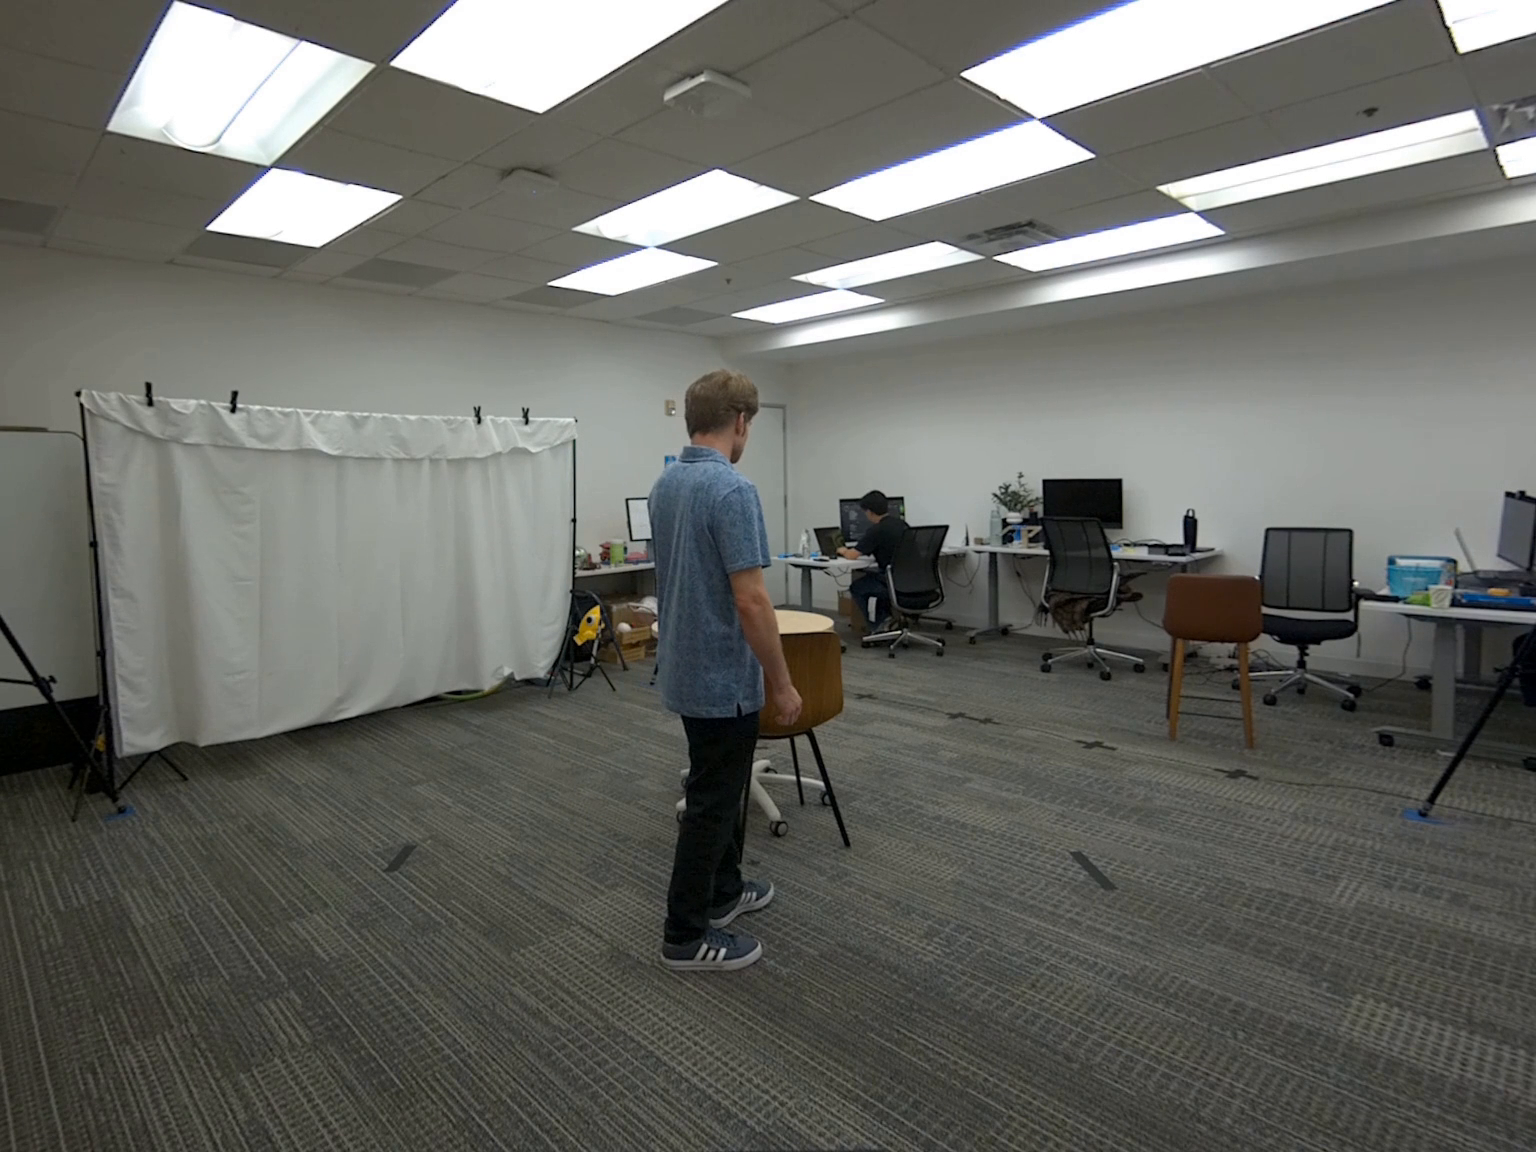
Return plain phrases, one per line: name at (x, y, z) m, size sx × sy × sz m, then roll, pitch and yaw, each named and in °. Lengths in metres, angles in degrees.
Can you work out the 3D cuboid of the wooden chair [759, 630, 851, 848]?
wooden chair at (0.019, 0.586, 3.344) m, size 0.470 × 0.871 × 0.536 m, roll -3°, pitch 9°, yaw -20°
